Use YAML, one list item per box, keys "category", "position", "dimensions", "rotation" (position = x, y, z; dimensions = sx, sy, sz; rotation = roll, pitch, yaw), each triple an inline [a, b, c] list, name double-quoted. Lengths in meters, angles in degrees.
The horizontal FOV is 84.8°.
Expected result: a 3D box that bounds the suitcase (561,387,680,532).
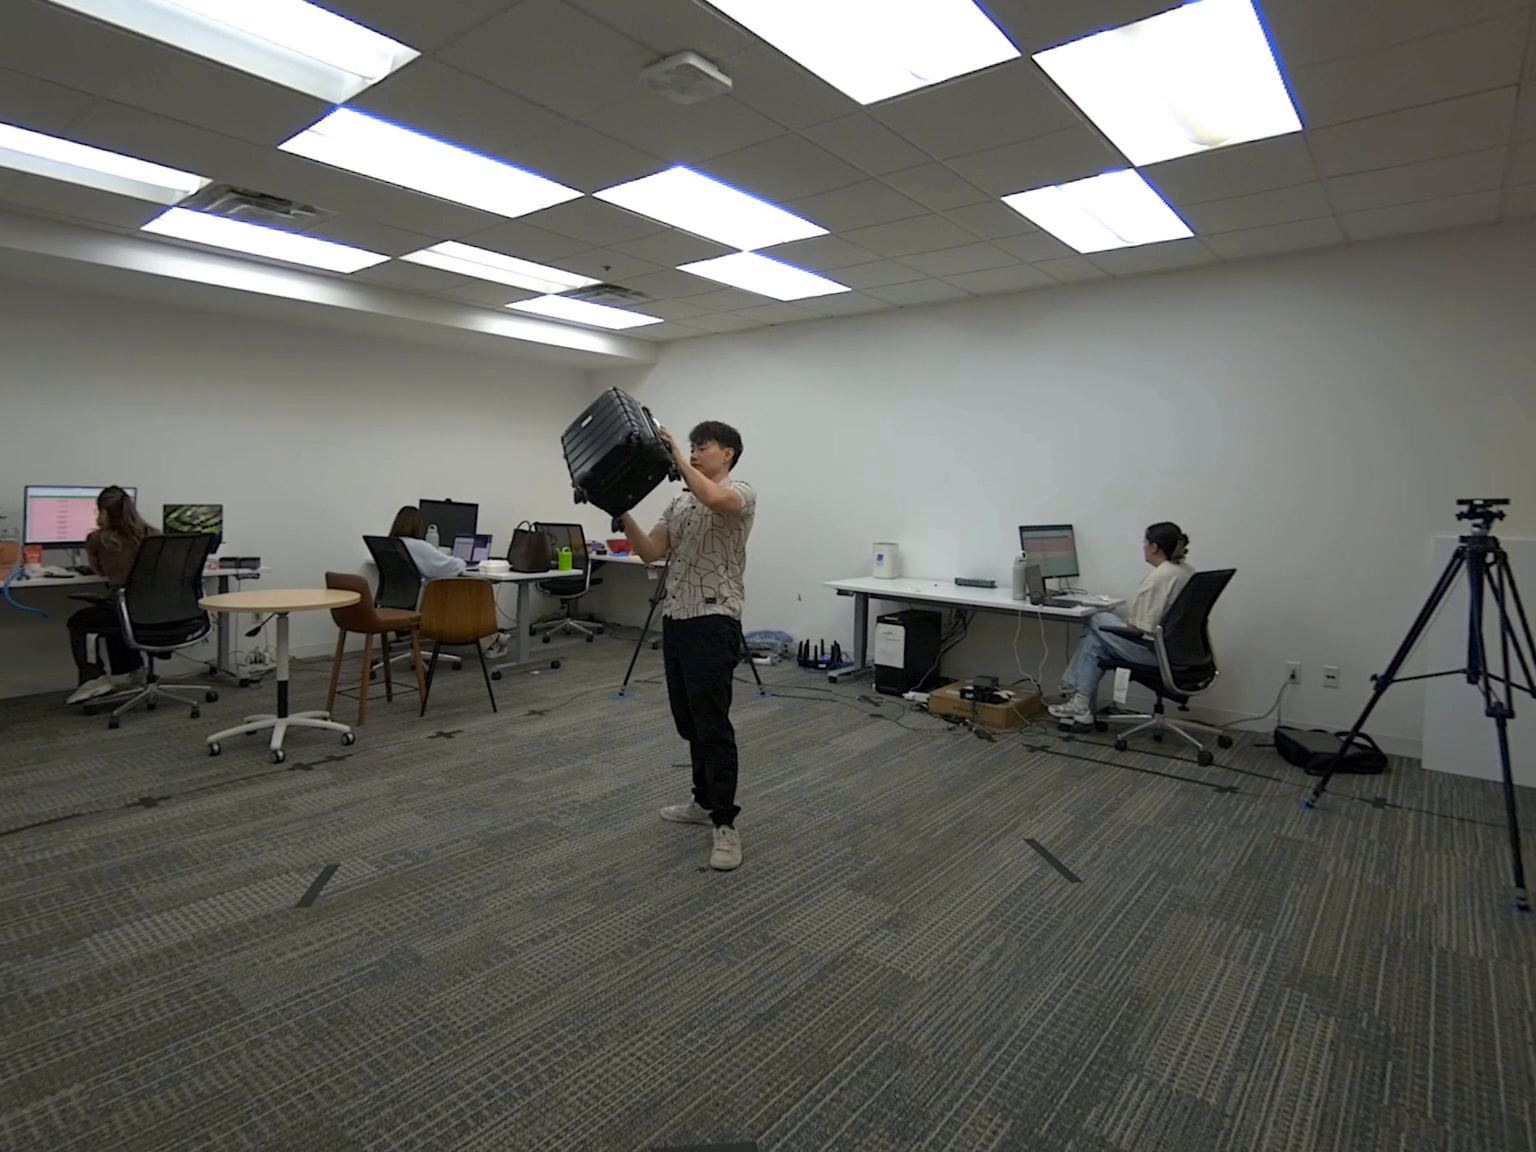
- category: "suitcase"
  position: [-0.615, -0.494, 3.353]
  dimensions: [0.238, 0.376, 0.571]
  rotation: [39, 13, -37]
